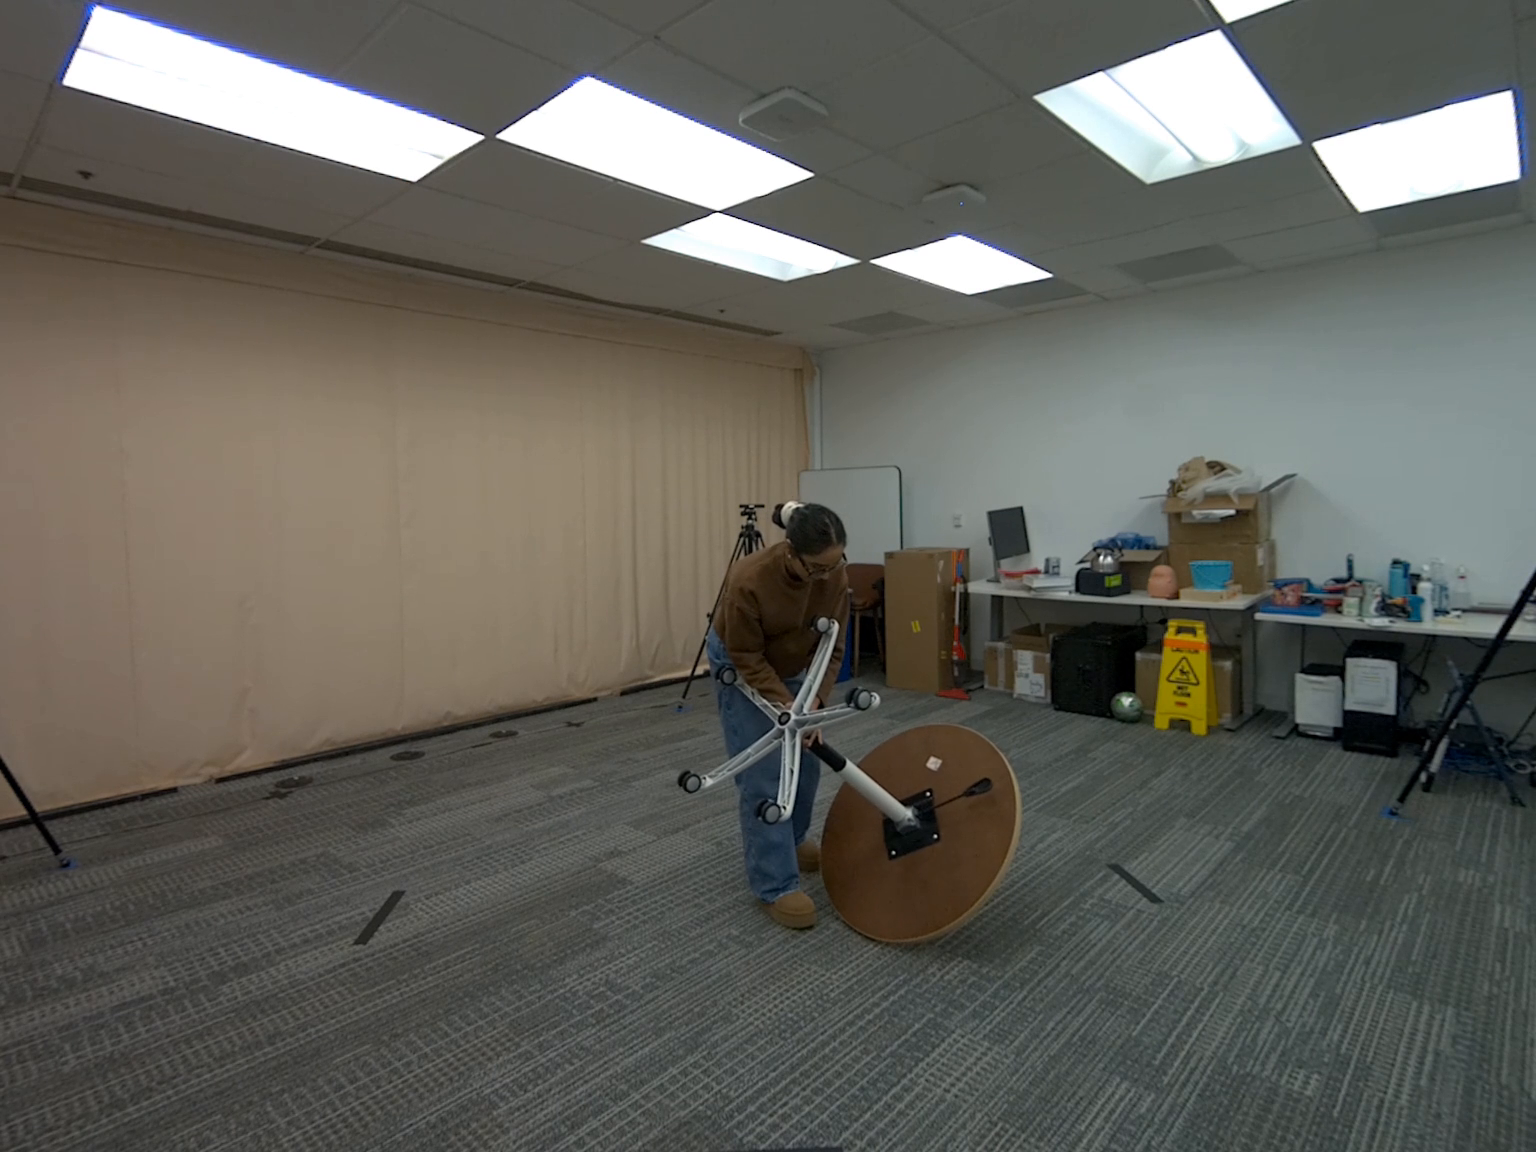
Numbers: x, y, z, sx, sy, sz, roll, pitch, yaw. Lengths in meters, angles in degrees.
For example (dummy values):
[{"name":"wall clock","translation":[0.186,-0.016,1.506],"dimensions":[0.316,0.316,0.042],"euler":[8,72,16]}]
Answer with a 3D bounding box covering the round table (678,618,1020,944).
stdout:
[{"name":"round table","translation":[0.263,0.615,2.667],"dimensions":[0.770,0.763,0.788],"euler":[43,-20,-29]}]
